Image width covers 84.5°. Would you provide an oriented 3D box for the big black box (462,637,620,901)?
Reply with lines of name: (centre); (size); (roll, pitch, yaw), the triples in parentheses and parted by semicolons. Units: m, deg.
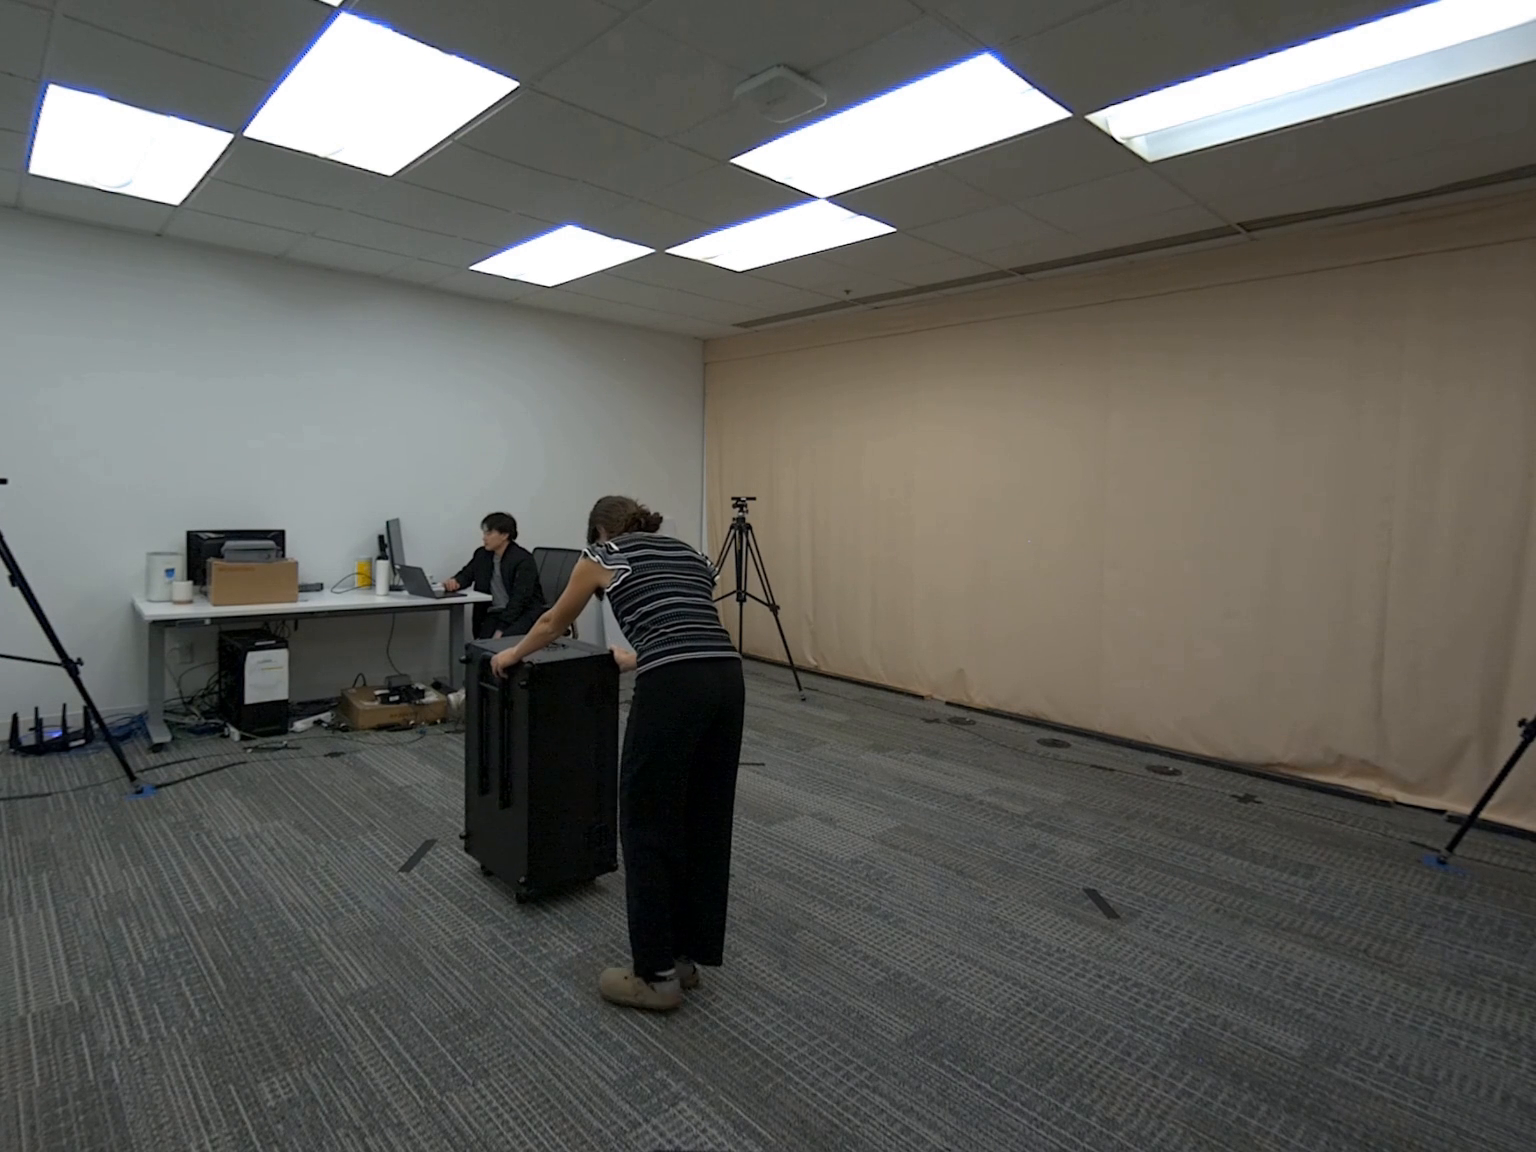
big black box: (-0.825, 0.679, 3.000); (0.387, 0.858, 0.535); (-3, 7, -42)
